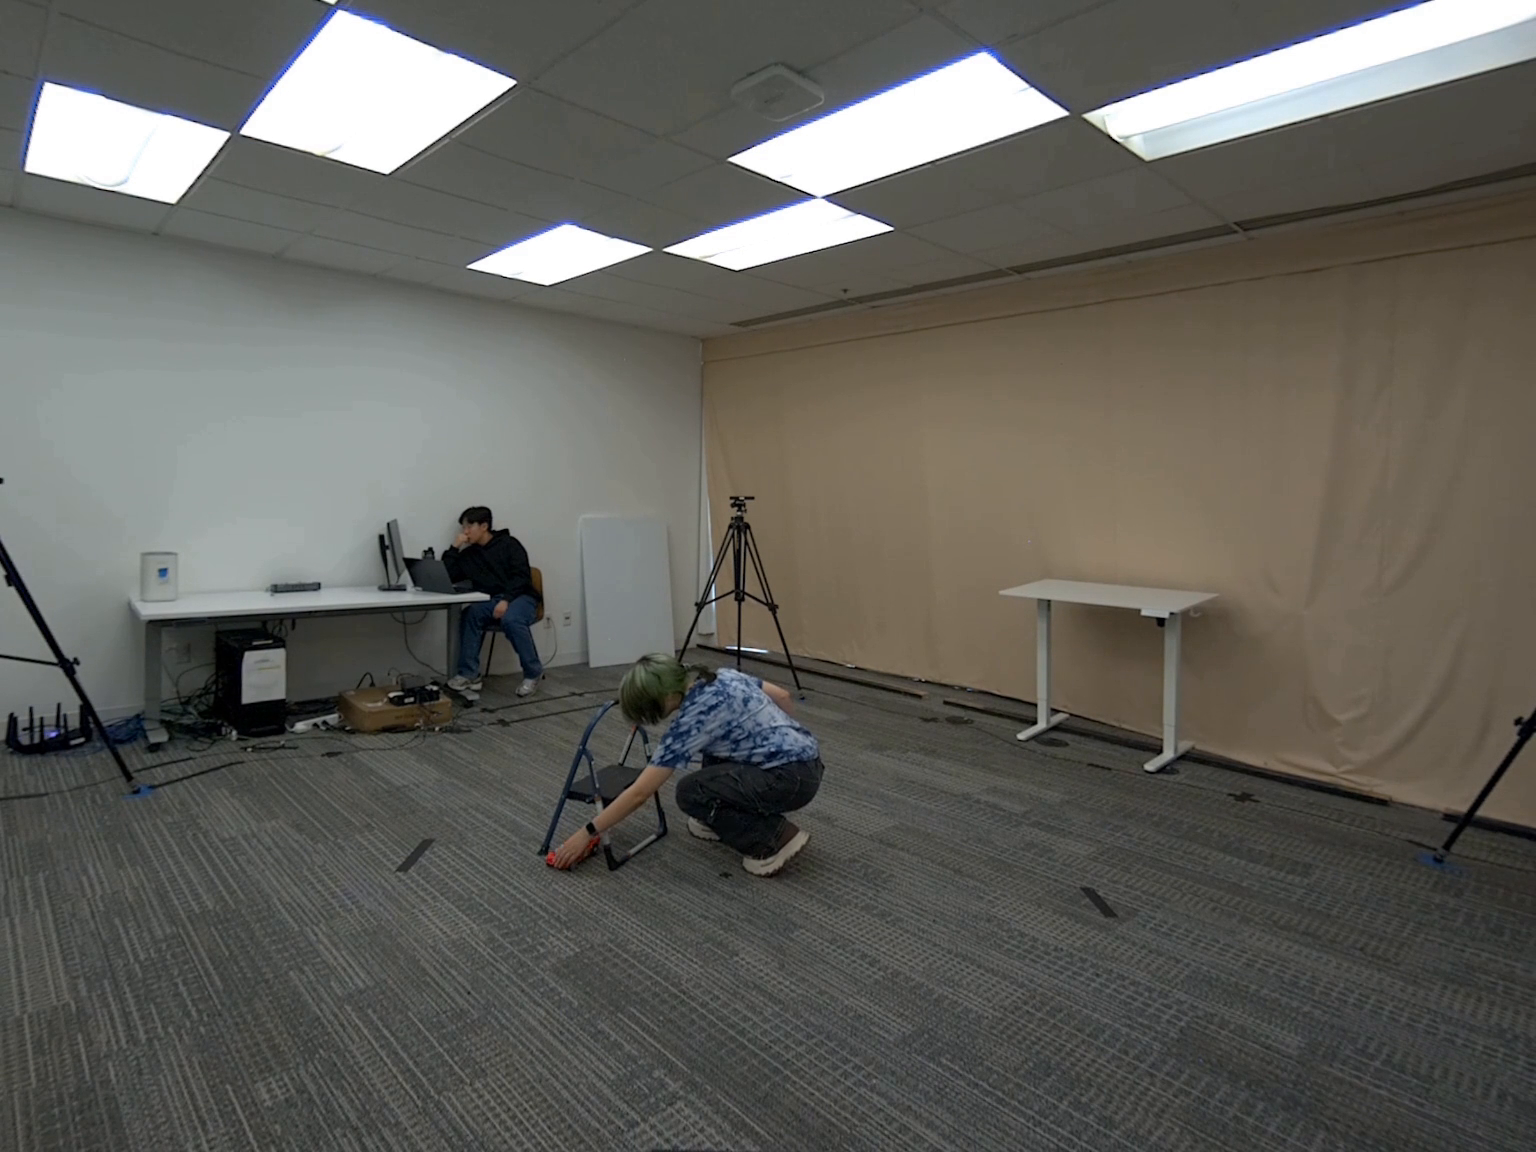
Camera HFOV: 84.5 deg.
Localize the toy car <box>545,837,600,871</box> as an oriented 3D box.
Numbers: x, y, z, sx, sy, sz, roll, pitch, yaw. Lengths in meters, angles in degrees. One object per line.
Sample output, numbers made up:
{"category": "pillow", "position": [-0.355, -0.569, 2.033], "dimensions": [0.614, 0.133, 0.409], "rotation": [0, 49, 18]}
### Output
{"category": "toy car", "position": [-0.741, 1.052, 3.219], "dimensions": [0.133, 0.082, 0.252], "rotation": [4, 17, 24]}
